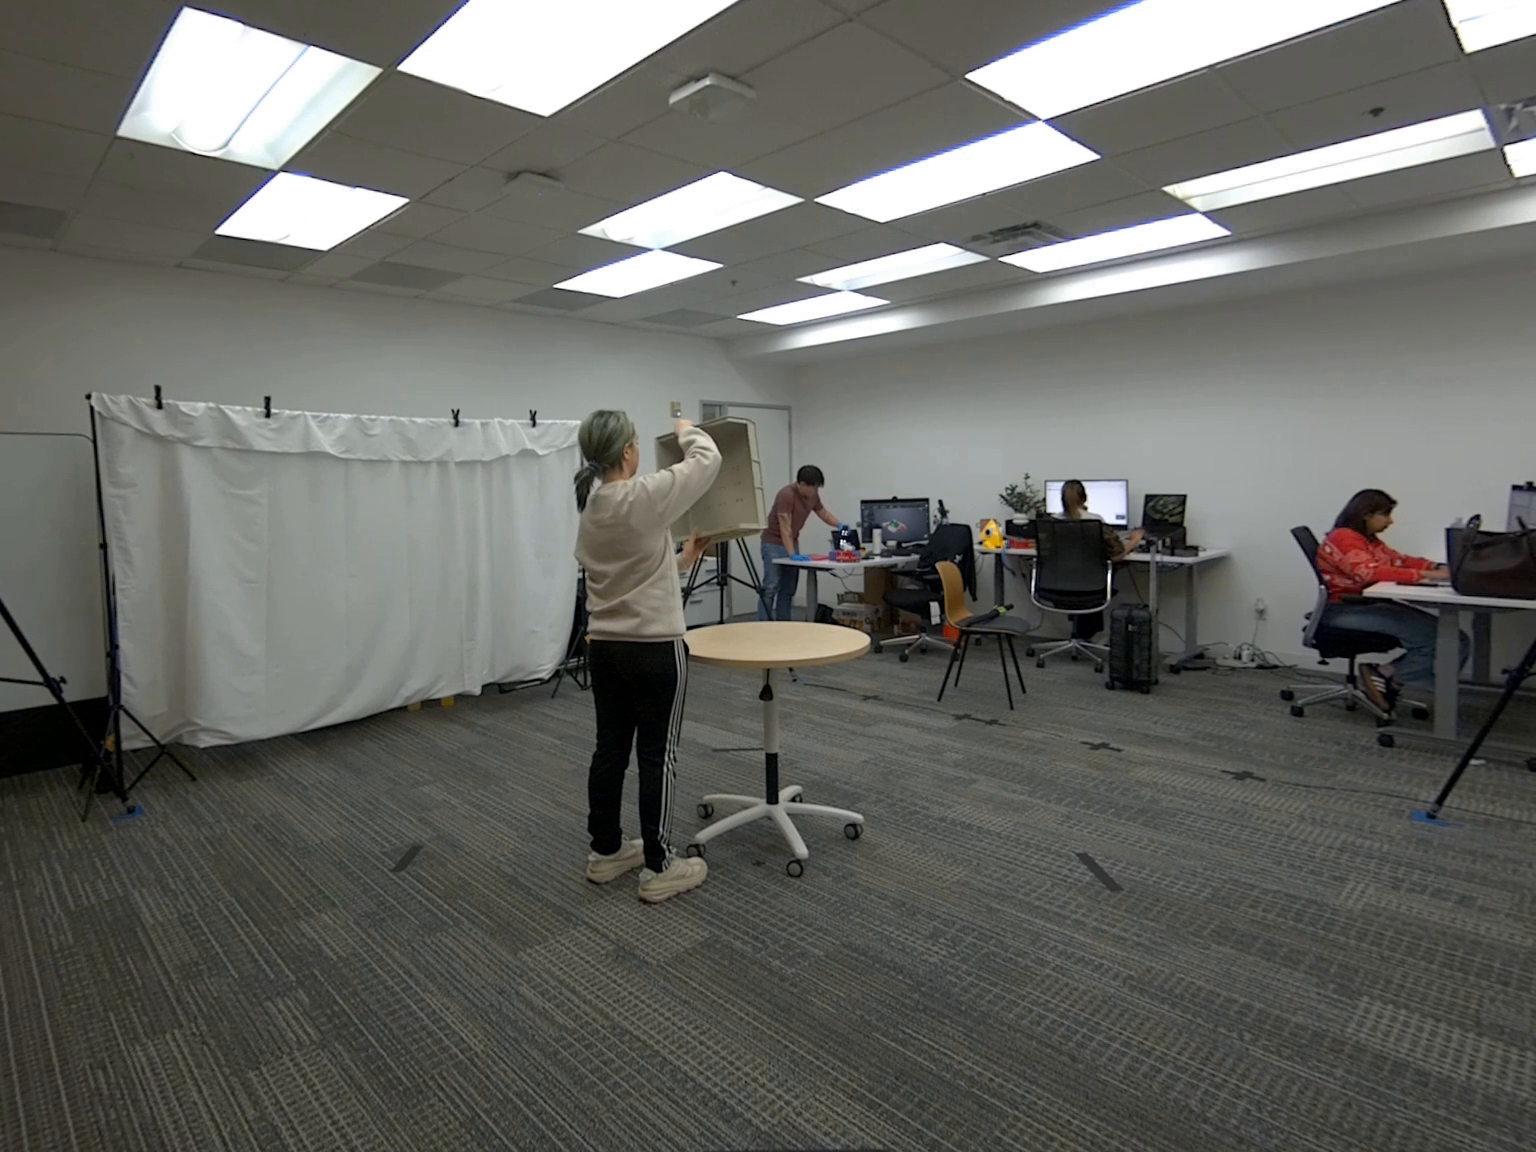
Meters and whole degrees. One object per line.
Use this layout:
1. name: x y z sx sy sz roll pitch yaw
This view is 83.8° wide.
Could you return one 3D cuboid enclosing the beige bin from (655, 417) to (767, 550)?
1. beige bin: -0.209 -0.346 3.205 0.385 0.426 0.183 -12 -11 33
